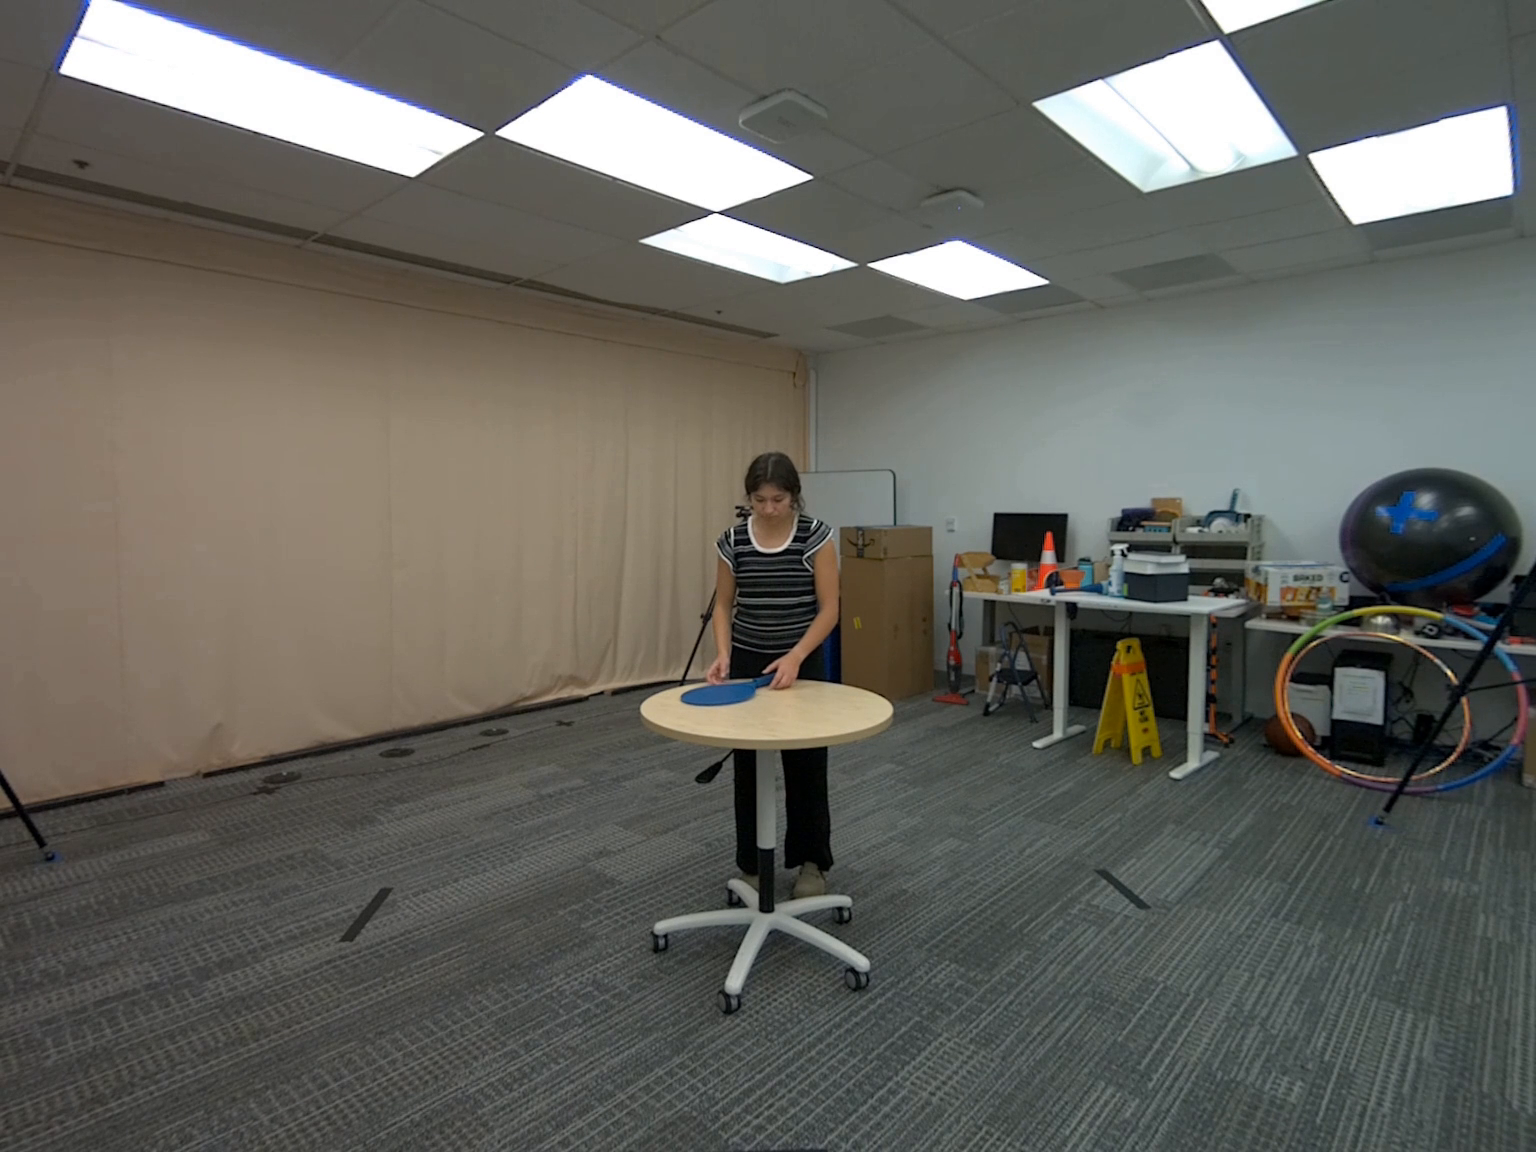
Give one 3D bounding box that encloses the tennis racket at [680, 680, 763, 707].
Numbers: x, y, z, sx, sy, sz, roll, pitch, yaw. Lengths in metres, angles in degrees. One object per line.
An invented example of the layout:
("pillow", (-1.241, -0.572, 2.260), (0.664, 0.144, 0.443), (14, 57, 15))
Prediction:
("tennis racket", (-0.103, 0.367, 2.750), (0.221, 0.031, 0.420), (5, 9, 42))
